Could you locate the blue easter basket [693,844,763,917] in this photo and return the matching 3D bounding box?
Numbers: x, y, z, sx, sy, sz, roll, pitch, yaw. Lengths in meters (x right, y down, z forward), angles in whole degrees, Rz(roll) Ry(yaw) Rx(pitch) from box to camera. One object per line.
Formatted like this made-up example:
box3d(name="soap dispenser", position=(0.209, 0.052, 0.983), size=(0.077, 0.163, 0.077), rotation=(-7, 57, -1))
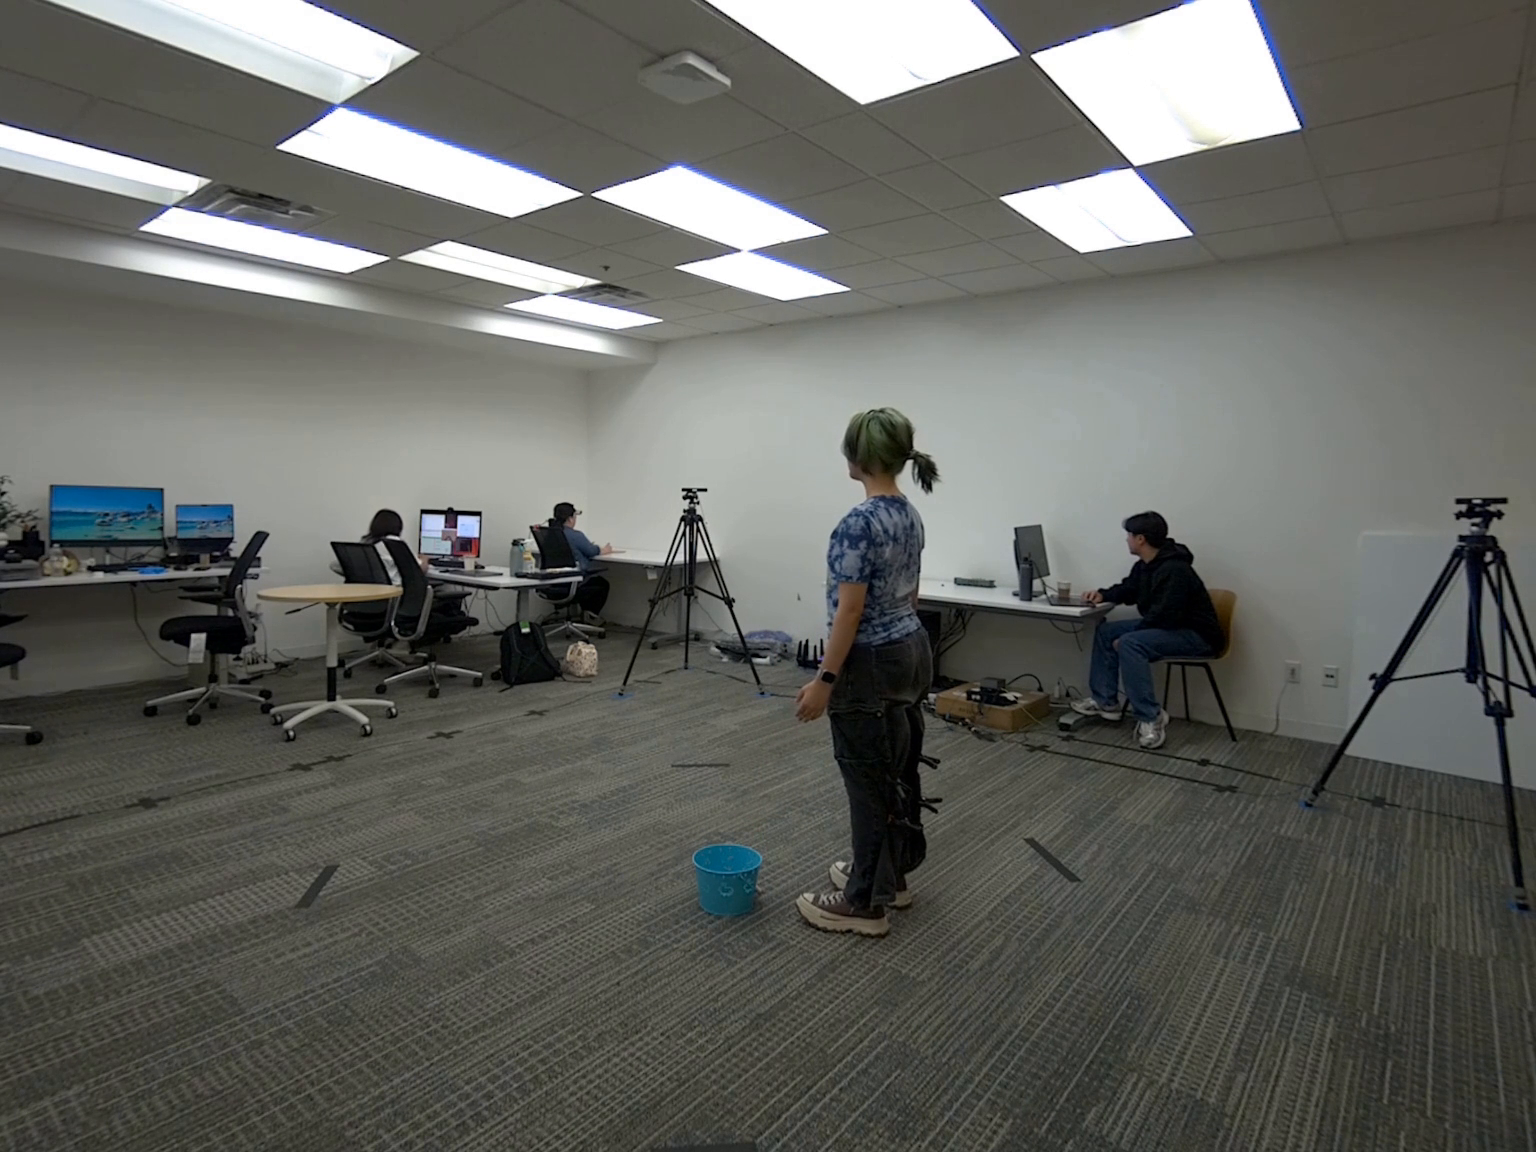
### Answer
box3d(name="blue easter basket", position=(-0.145, 1.016, 2.851), size=(0.243, 0.155, 0.245), rotation=(1, 5, -2))
